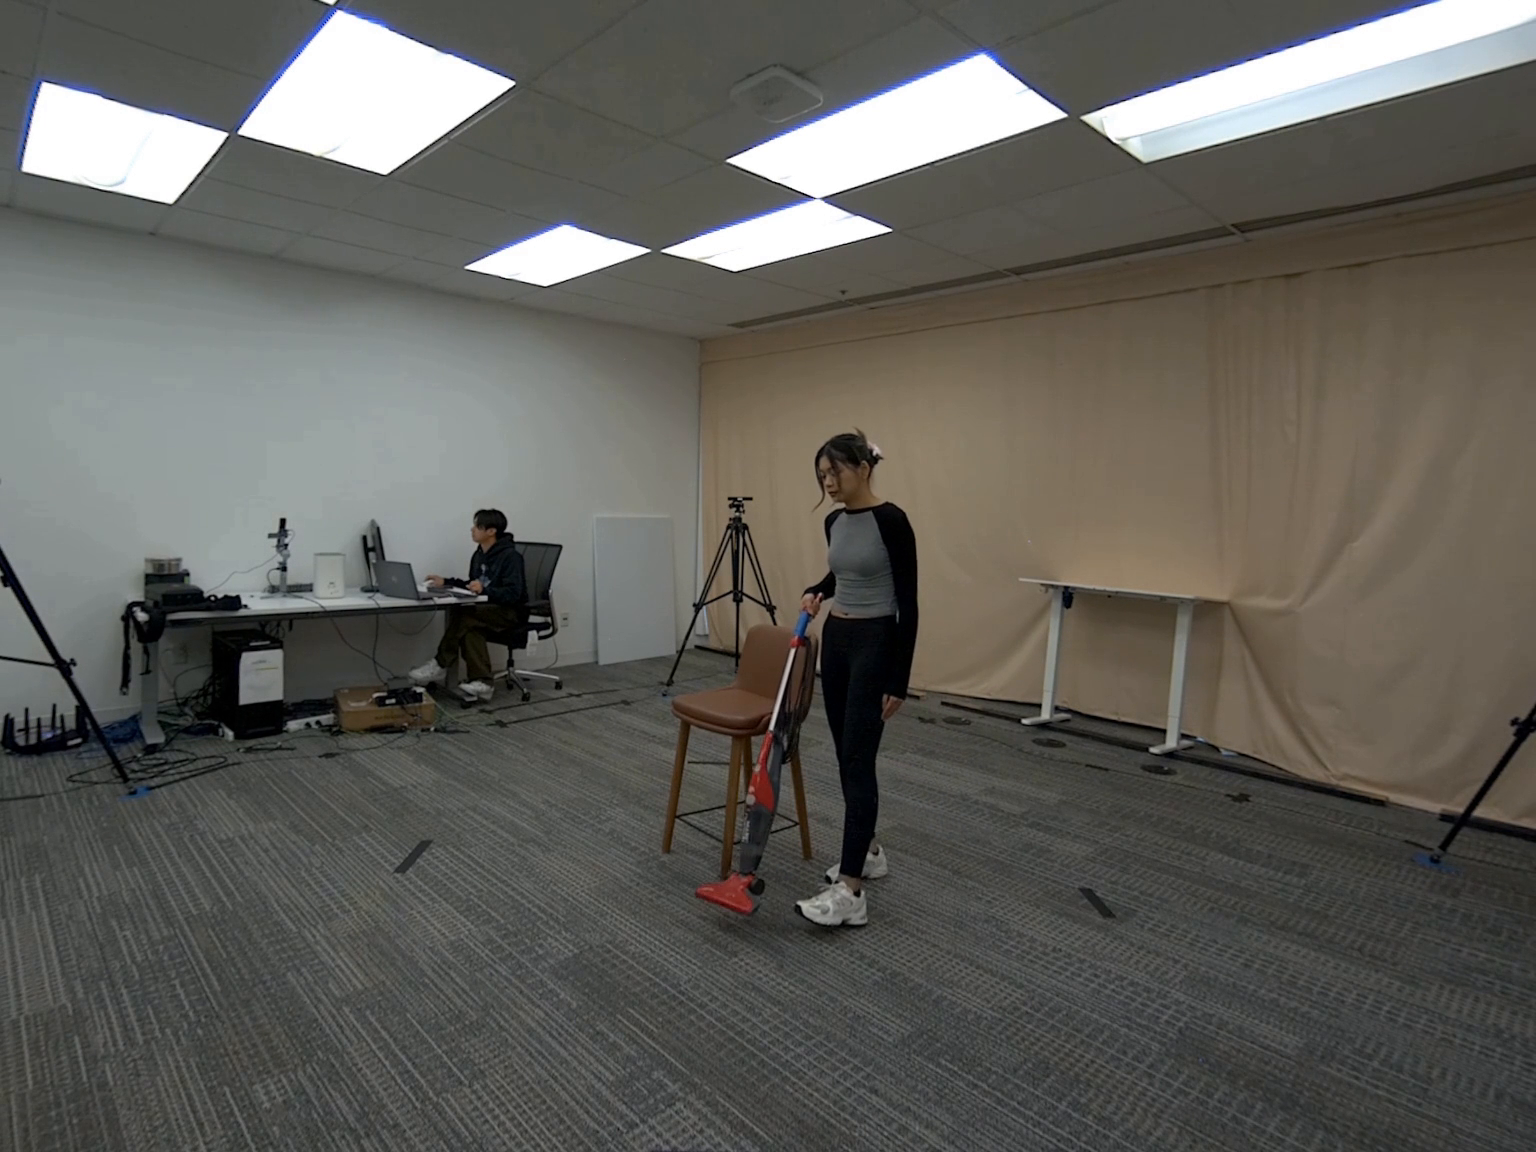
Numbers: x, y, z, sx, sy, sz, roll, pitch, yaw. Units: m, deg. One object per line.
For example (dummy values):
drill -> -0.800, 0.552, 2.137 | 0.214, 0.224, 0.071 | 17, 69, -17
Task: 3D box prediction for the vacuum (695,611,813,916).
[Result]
vacuum -> 0.018, 0.560, 2.868 | 0.258, 1.059, 0.139 | -1, -25, 38
